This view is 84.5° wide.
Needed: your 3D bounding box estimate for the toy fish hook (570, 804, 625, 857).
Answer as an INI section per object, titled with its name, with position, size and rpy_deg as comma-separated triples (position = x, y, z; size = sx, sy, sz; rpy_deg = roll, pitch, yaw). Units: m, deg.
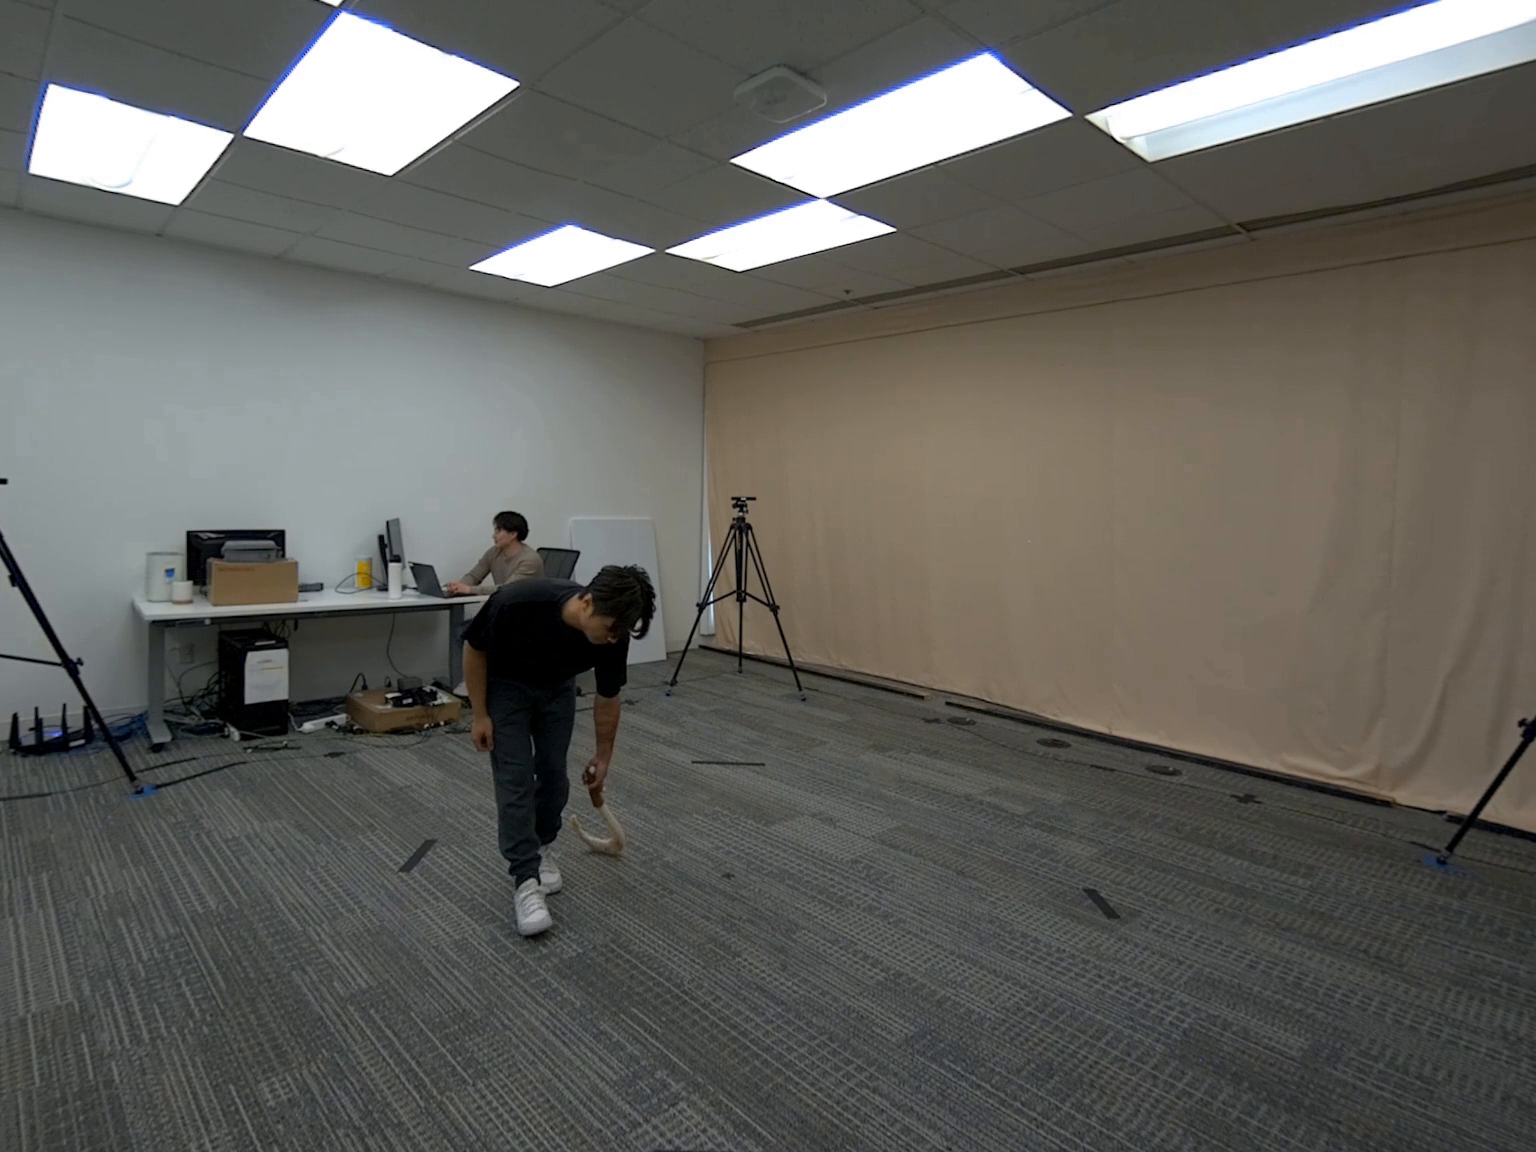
[toy fish hook]
position = -0.669, 0.881, 3.142
size = 0.227, 0.495, 0.049
rpy_deg = 6, 37, 13
